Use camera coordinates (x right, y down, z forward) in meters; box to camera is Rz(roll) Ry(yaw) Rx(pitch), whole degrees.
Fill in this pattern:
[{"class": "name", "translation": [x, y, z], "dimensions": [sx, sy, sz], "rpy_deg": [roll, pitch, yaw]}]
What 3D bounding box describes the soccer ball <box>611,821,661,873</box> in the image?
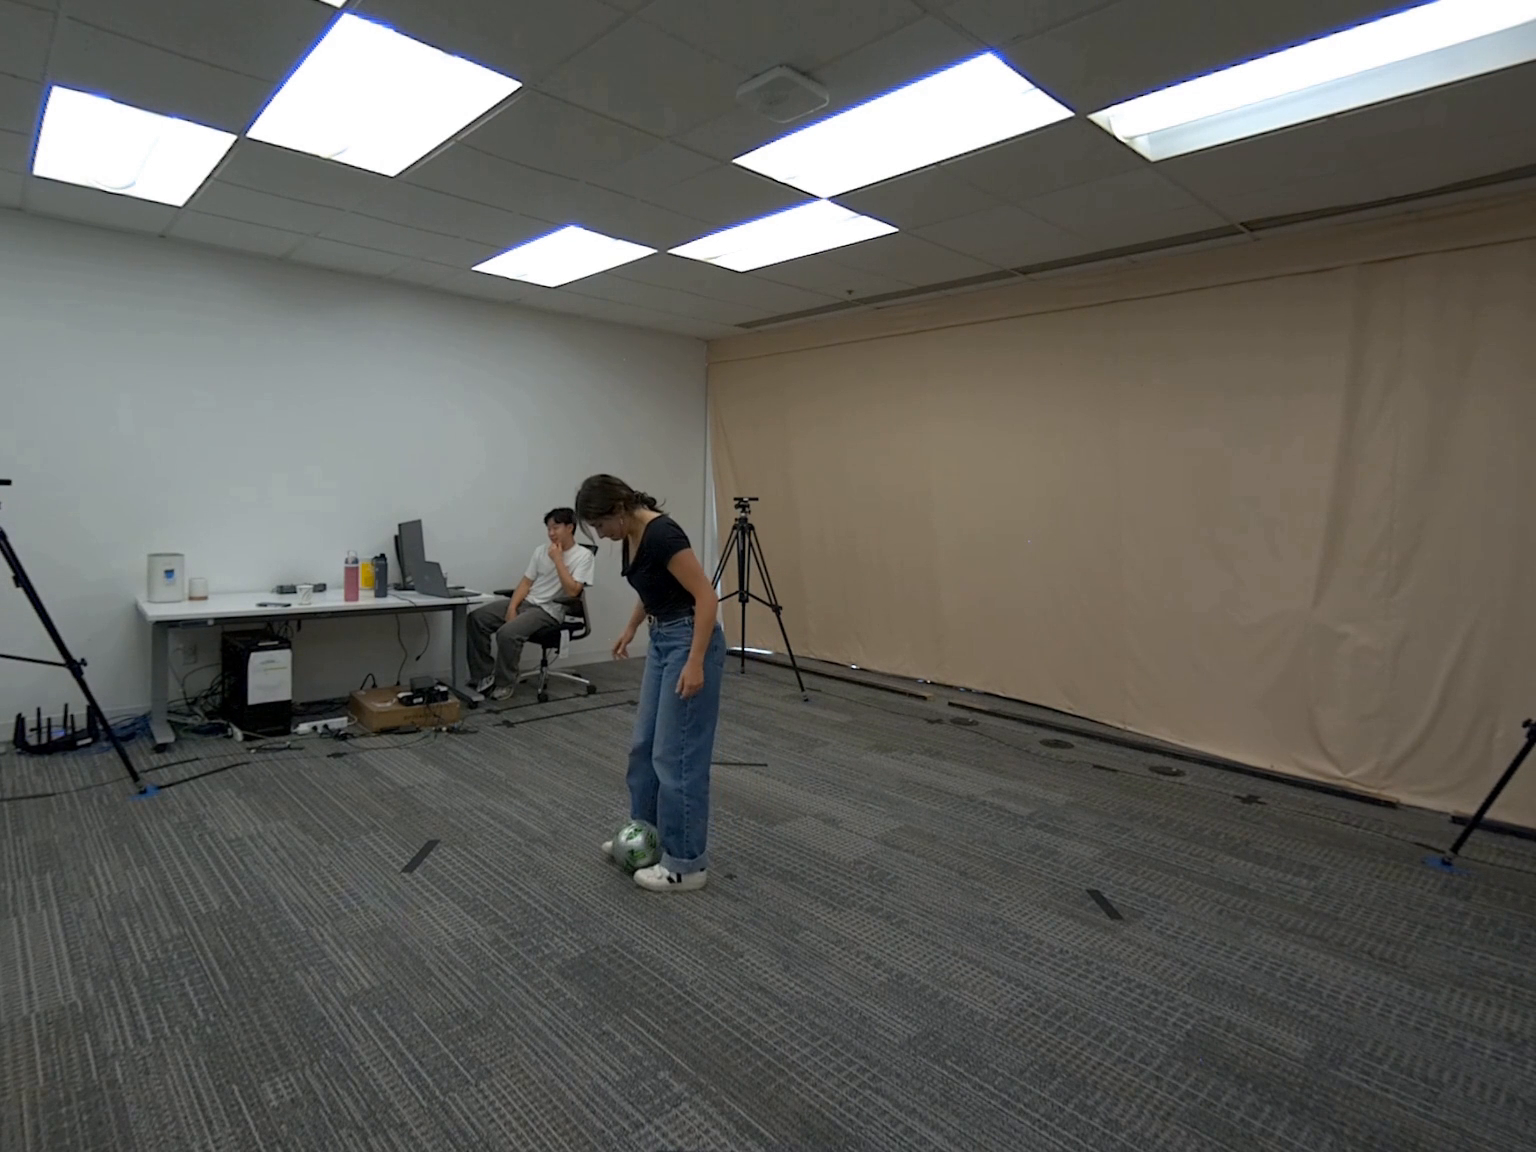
[{"class": "soccer ball", "translation": [-0.497, 1.015, 3.128], "dimensions": [0.187, 0.187, 0.188], "rpy_deg": [1, 4, -1]}]
